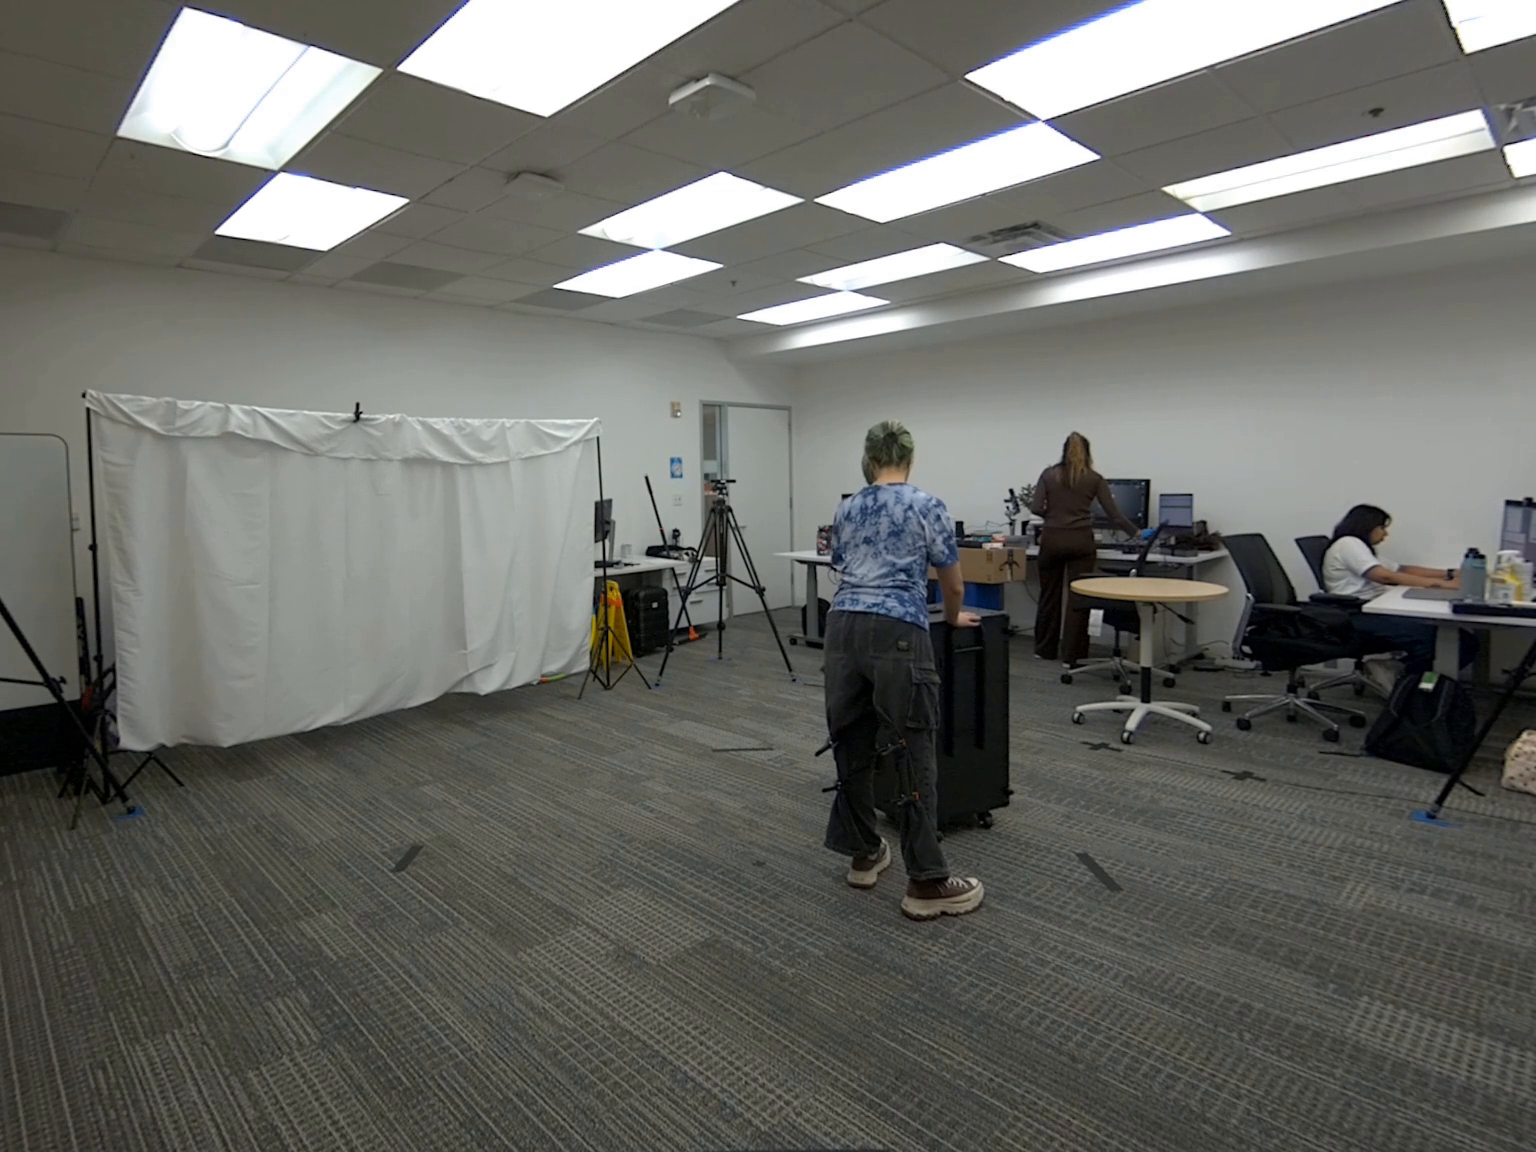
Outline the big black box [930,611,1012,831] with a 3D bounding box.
[{"bbox_3d":[0.680,0.571,3.445,0.509,0.858,0.407,-3,5,-30],"label":"big black box"}]
